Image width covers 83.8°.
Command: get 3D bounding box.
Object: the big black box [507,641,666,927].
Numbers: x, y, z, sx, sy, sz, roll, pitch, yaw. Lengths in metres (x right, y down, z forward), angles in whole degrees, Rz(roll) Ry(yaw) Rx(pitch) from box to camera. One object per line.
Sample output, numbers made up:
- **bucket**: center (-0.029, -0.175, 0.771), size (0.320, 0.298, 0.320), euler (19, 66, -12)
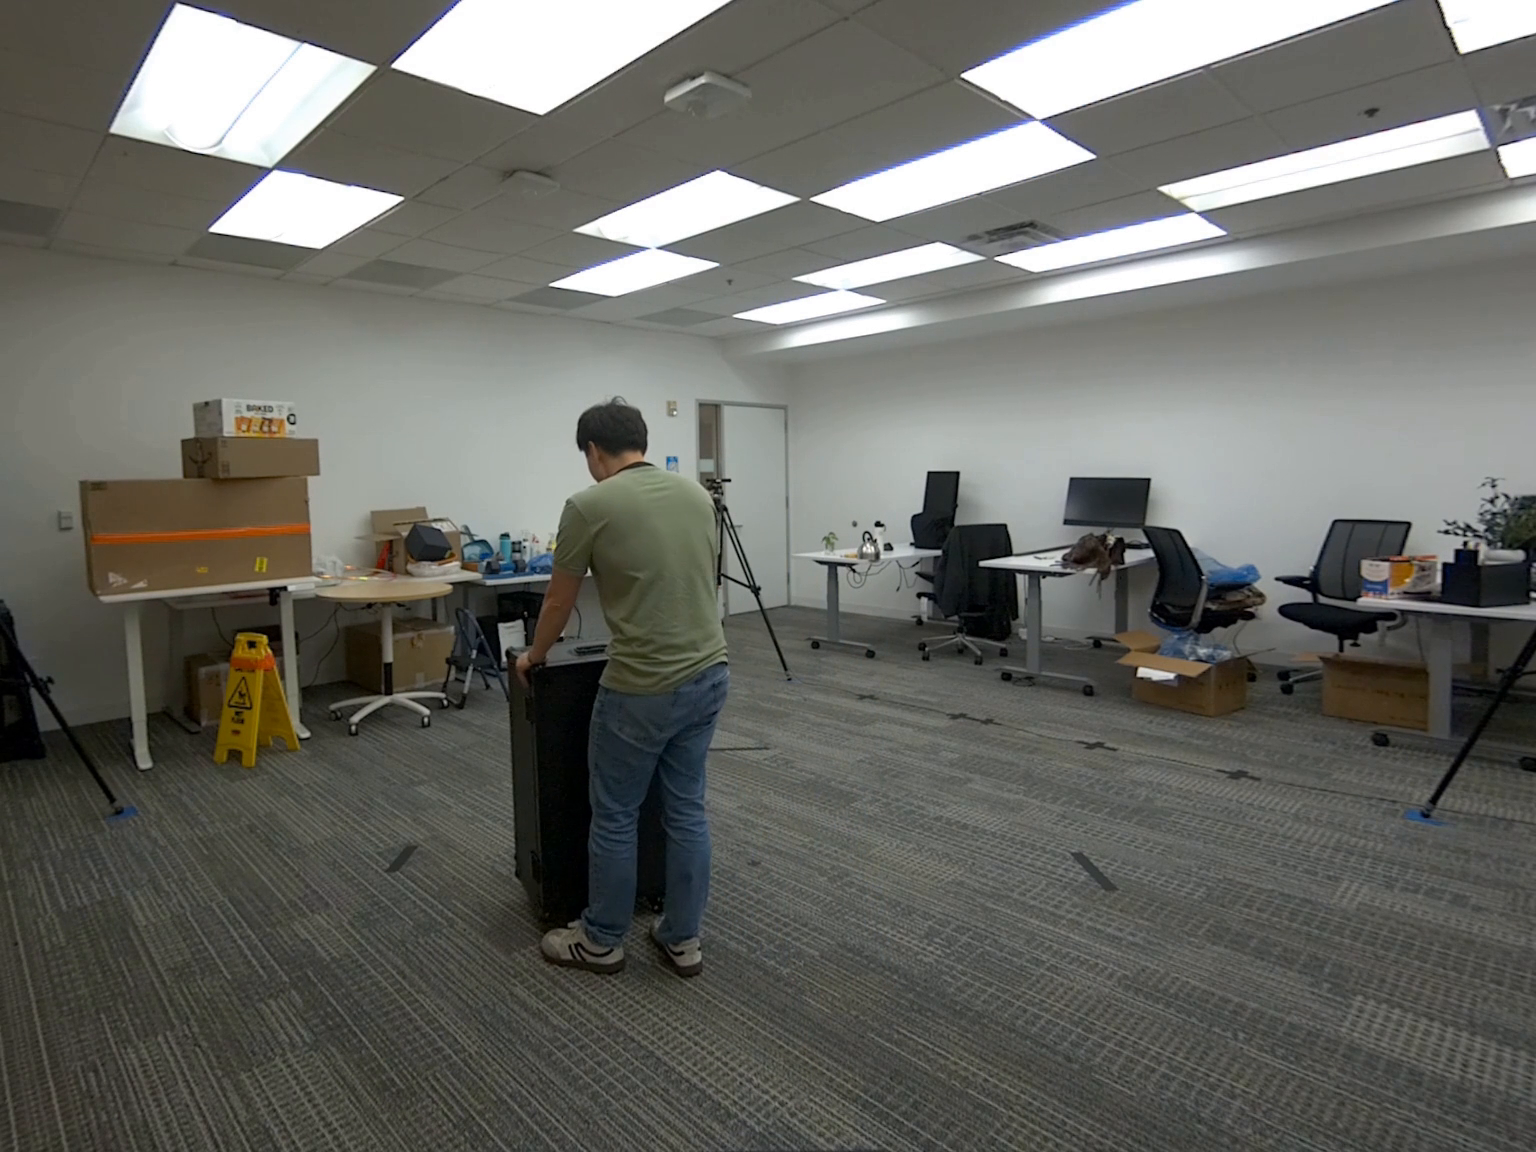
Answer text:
- **big black box**: center (-0.579, 0.661, 2.826), size (0.510, 0.859, 0.406), euler (-3, 3, -28)
